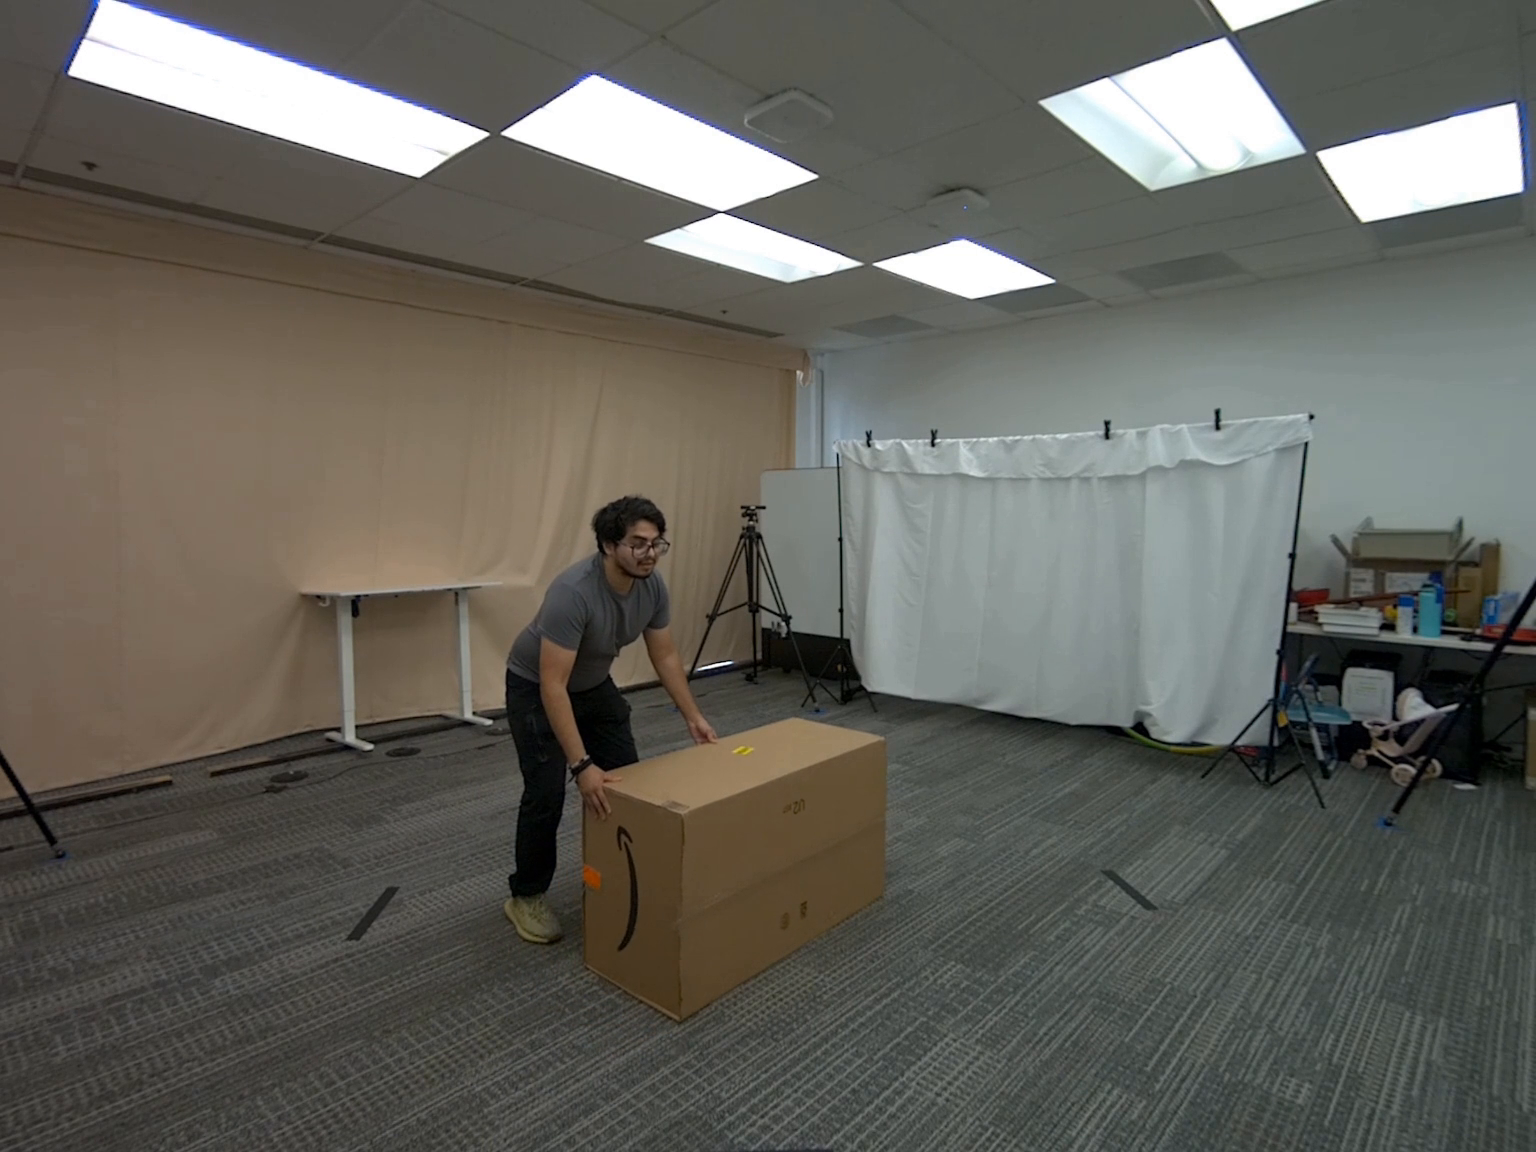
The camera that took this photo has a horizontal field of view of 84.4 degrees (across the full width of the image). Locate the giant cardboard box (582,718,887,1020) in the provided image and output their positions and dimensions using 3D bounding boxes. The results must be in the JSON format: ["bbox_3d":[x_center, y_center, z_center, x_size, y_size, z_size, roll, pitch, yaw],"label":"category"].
[{"bbox_3d":[-0.065,0.877,2.762,0.440,0.576,0.995,3,5,41],"label":"giant cardboard box"}]
